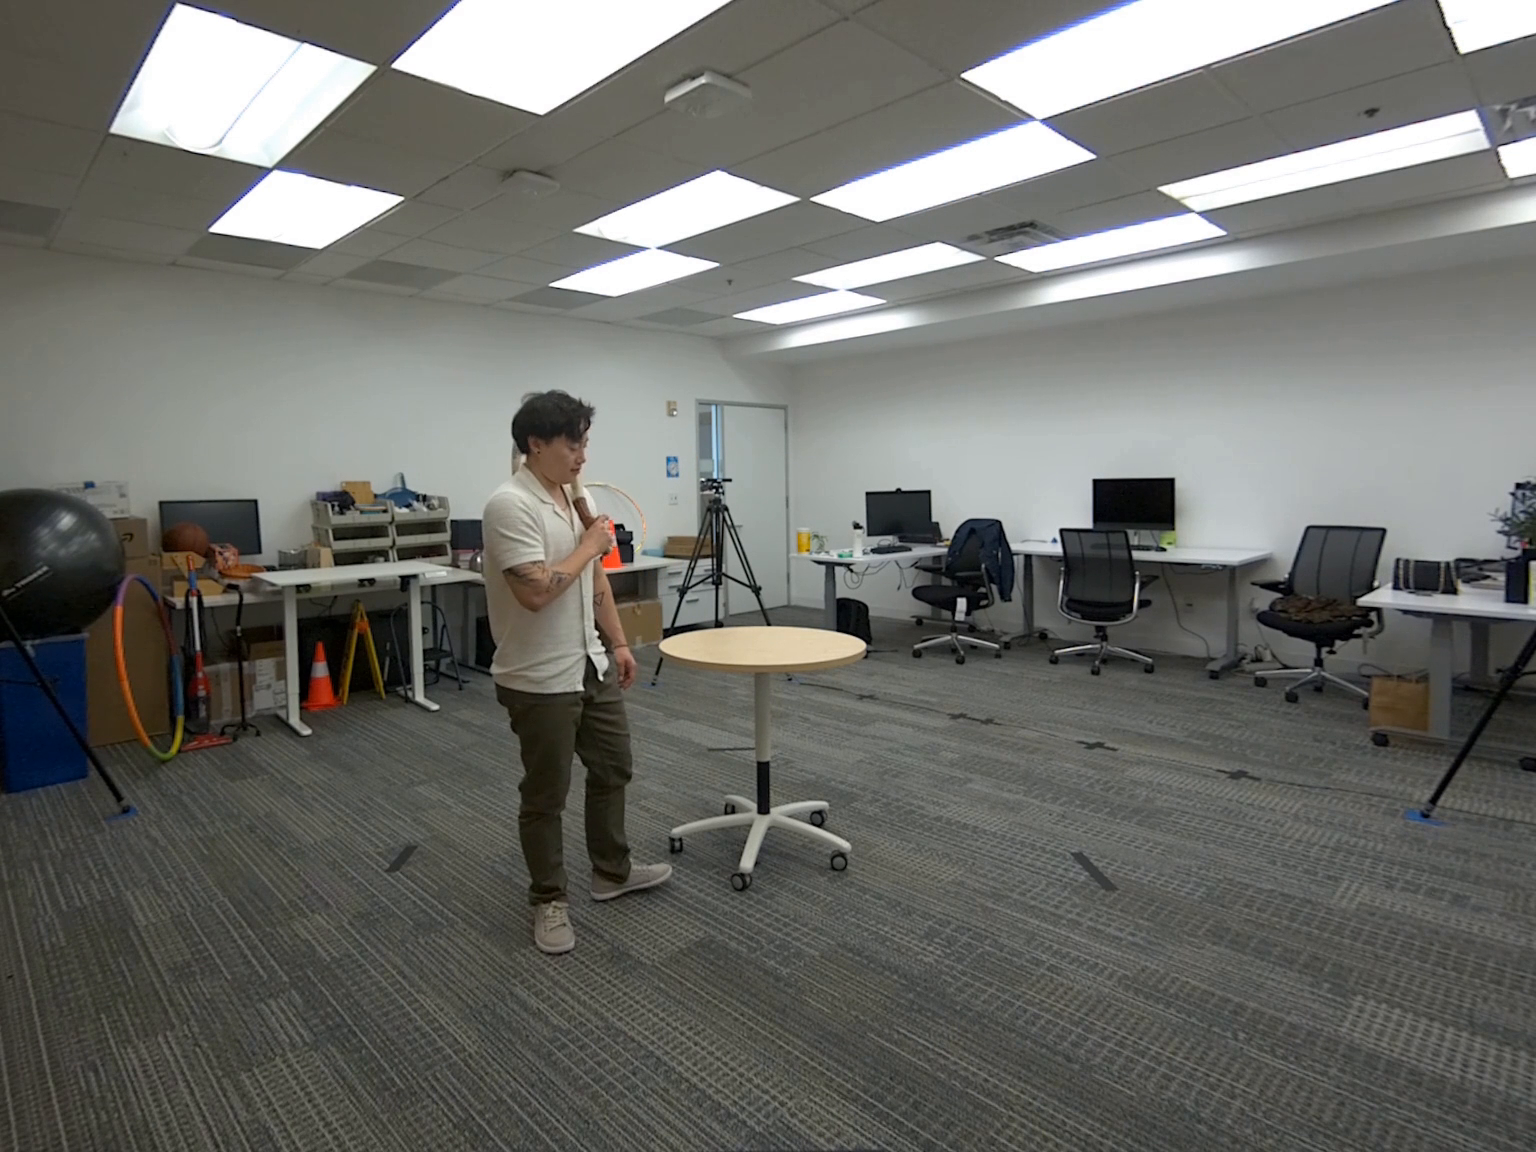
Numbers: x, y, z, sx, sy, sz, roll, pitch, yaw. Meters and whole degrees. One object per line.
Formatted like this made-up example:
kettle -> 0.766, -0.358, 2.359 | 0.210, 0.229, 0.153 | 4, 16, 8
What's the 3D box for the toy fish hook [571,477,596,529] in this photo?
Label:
toy fish hook -> -0.644, -0.260, 2.659 | 0.225, 0.518, 0.047 | -30, -18, 7
